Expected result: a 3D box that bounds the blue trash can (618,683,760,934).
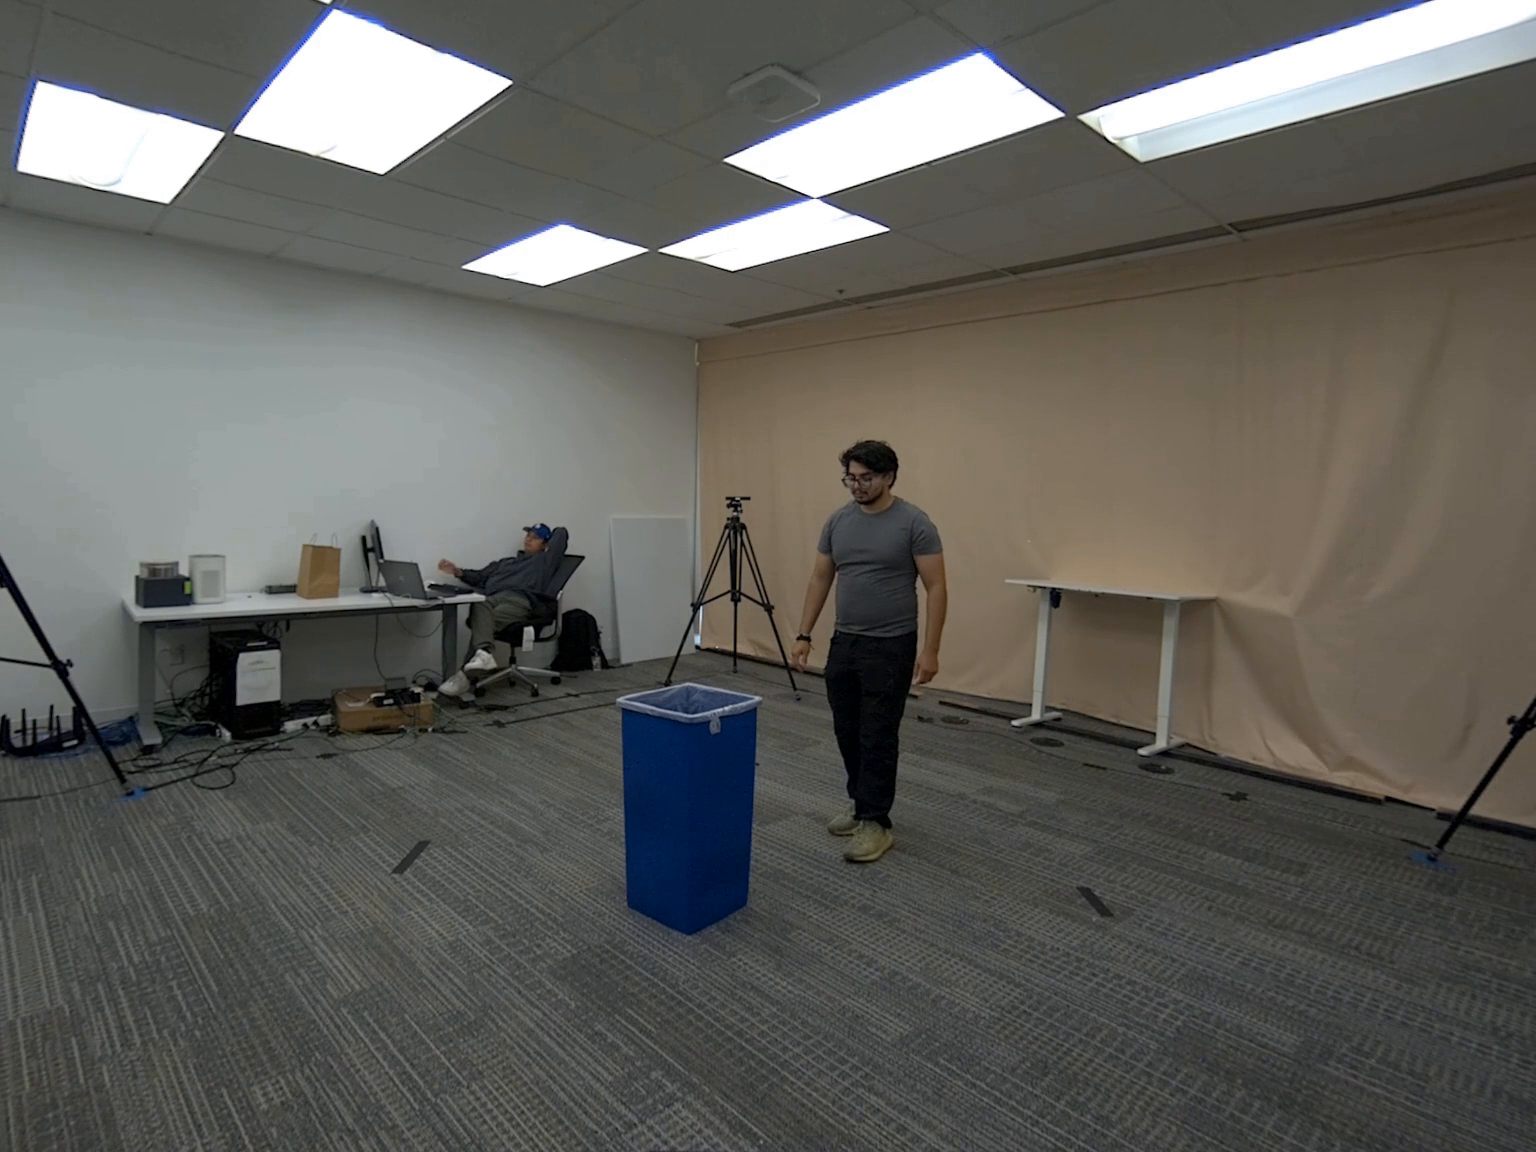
[{"bbox_3d":[-0.282,0.768,2.861,0.383,0.712,0.369,4,4,39],"label":"blue trash can"}]
